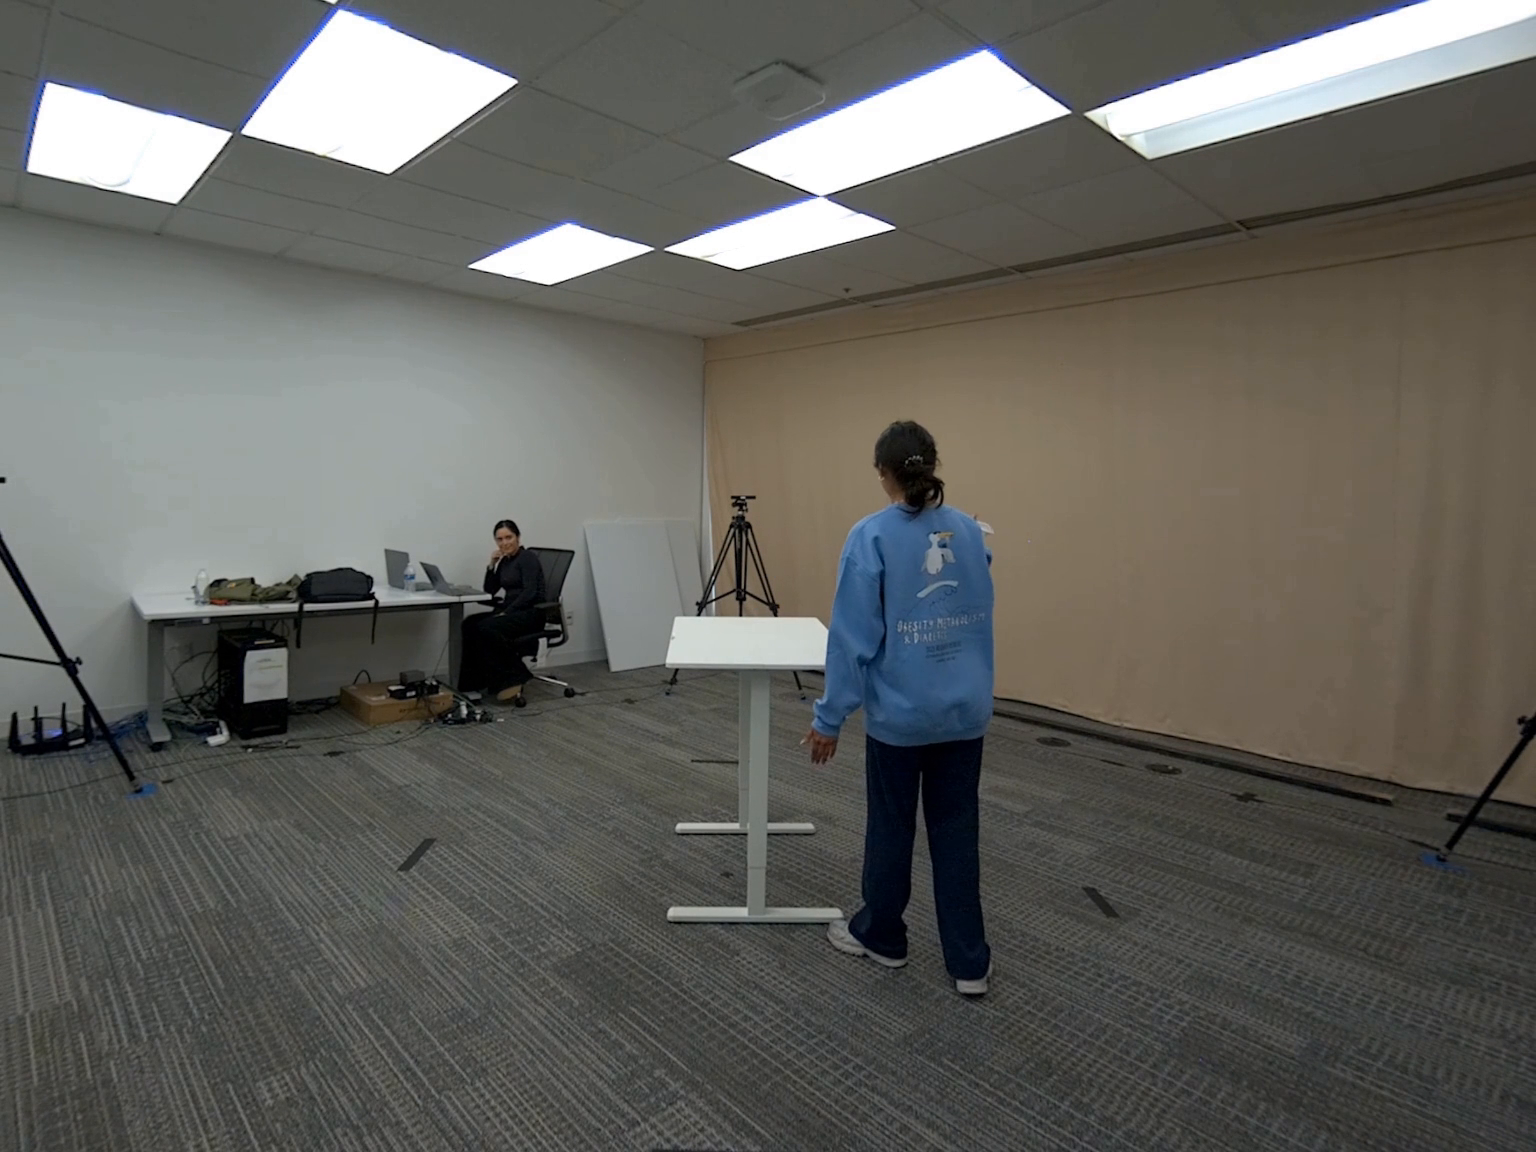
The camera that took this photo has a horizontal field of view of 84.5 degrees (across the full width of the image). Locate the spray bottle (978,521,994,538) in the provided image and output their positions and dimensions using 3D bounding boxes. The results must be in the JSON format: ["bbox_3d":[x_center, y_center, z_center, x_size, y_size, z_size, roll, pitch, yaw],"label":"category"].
[{"bbox_3d":[0.688,-0.031,2.808,0.092,0.296,0.085,15,9,43],"label":"spray bottle"}]
